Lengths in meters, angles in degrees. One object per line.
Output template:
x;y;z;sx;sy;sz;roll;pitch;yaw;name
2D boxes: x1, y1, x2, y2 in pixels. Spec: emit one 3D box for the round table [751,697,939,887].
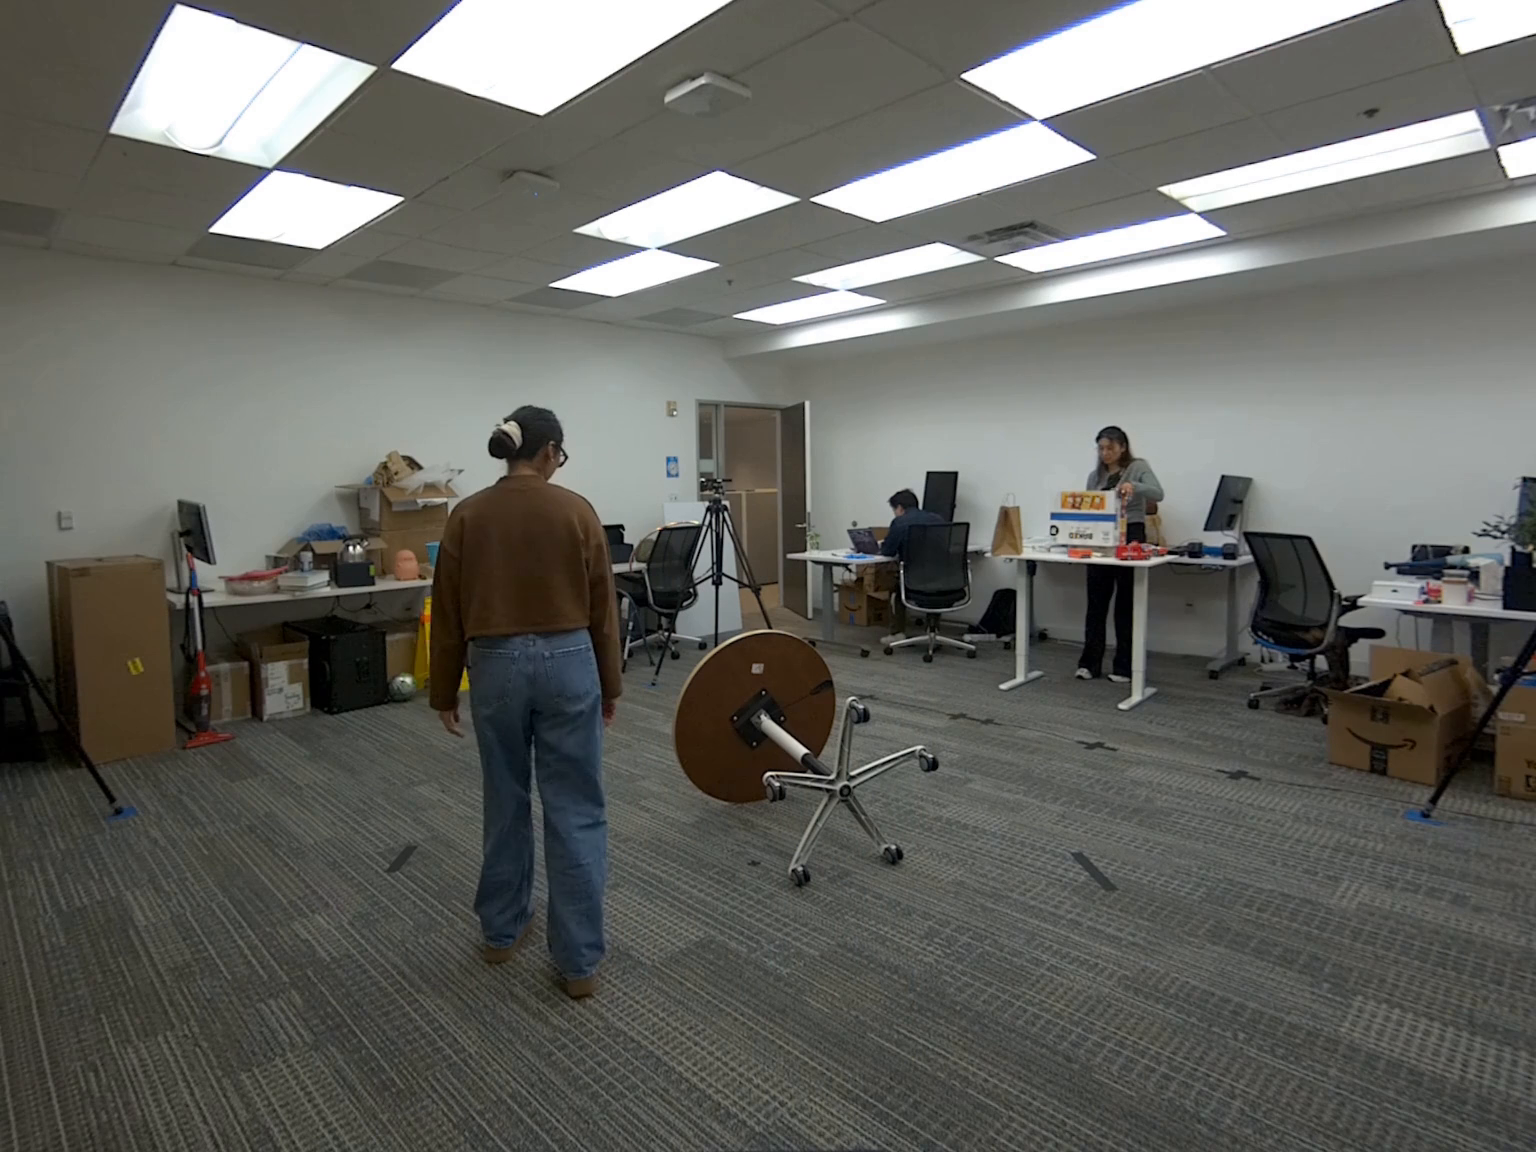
0.134;0.684;3.300;0.748;0.756;0.819;-3;13;-26;round table
